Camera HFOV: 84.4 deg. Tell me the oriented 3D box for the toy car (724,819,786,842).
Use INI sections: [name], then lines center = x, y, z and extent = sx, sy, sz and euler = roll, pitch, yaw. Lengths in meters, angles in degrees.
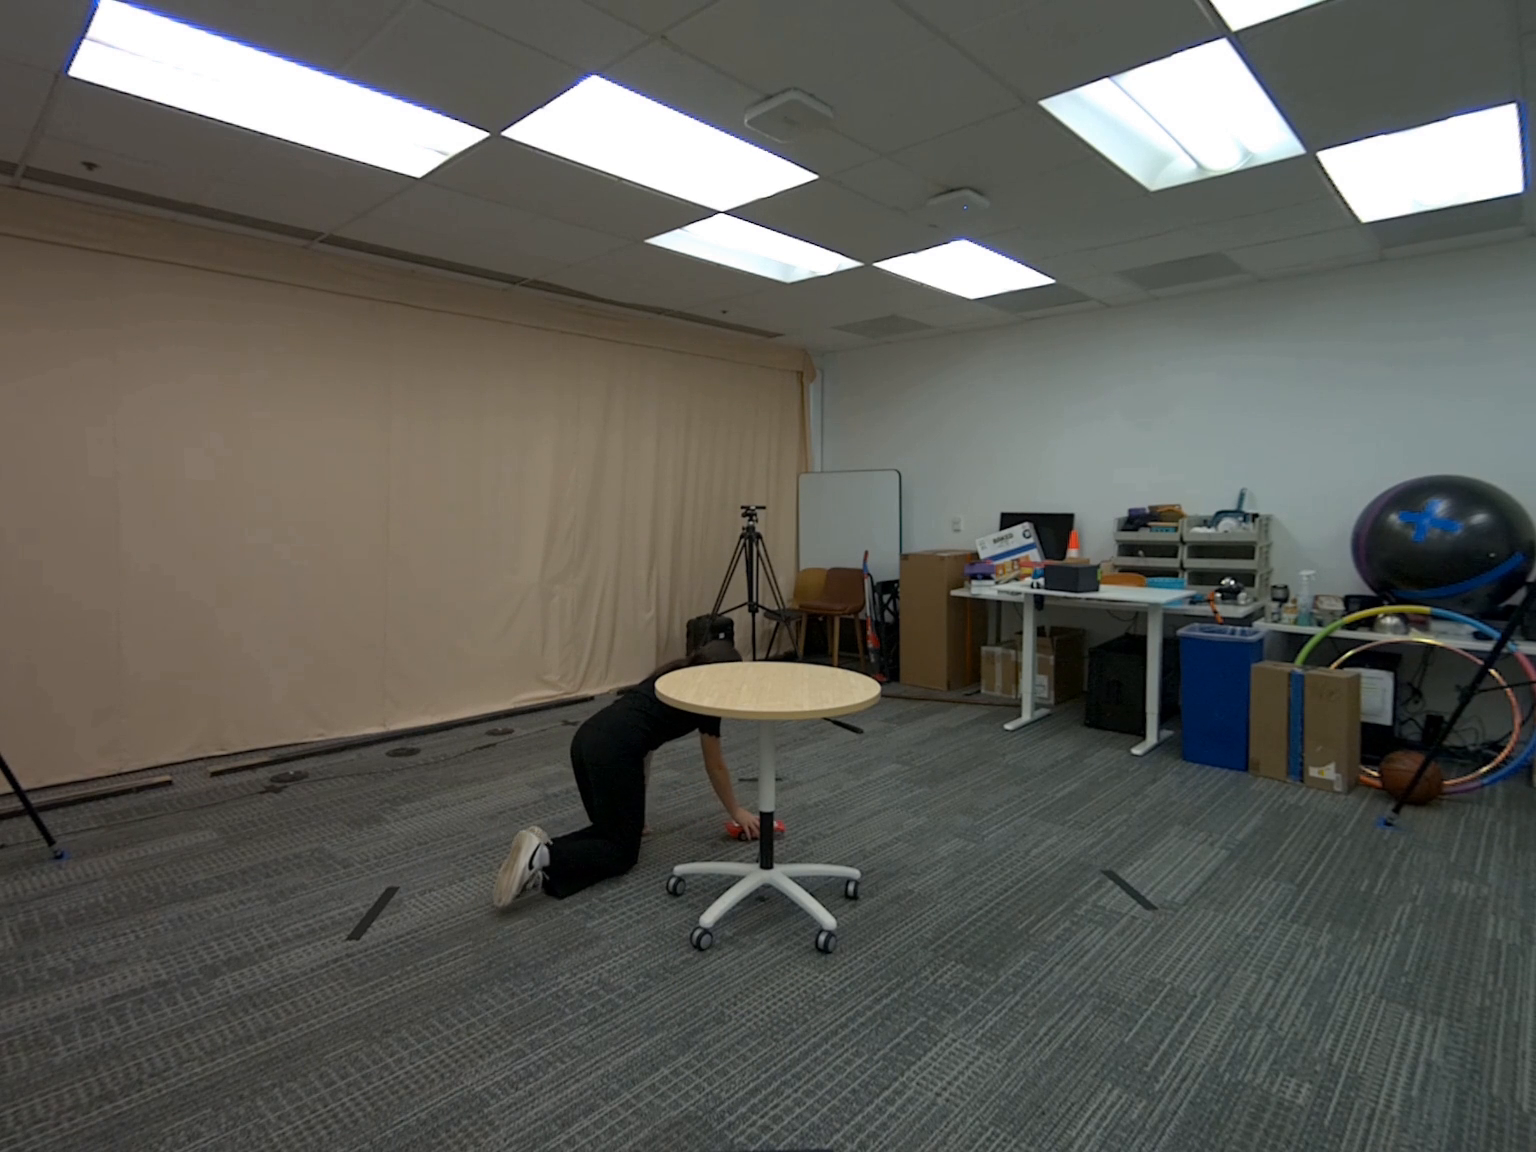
[toy car]
center = -0.063, 1.068, 3.551
extent = 0.252, 0.083, 0.132
euler = 10, 2, -9
